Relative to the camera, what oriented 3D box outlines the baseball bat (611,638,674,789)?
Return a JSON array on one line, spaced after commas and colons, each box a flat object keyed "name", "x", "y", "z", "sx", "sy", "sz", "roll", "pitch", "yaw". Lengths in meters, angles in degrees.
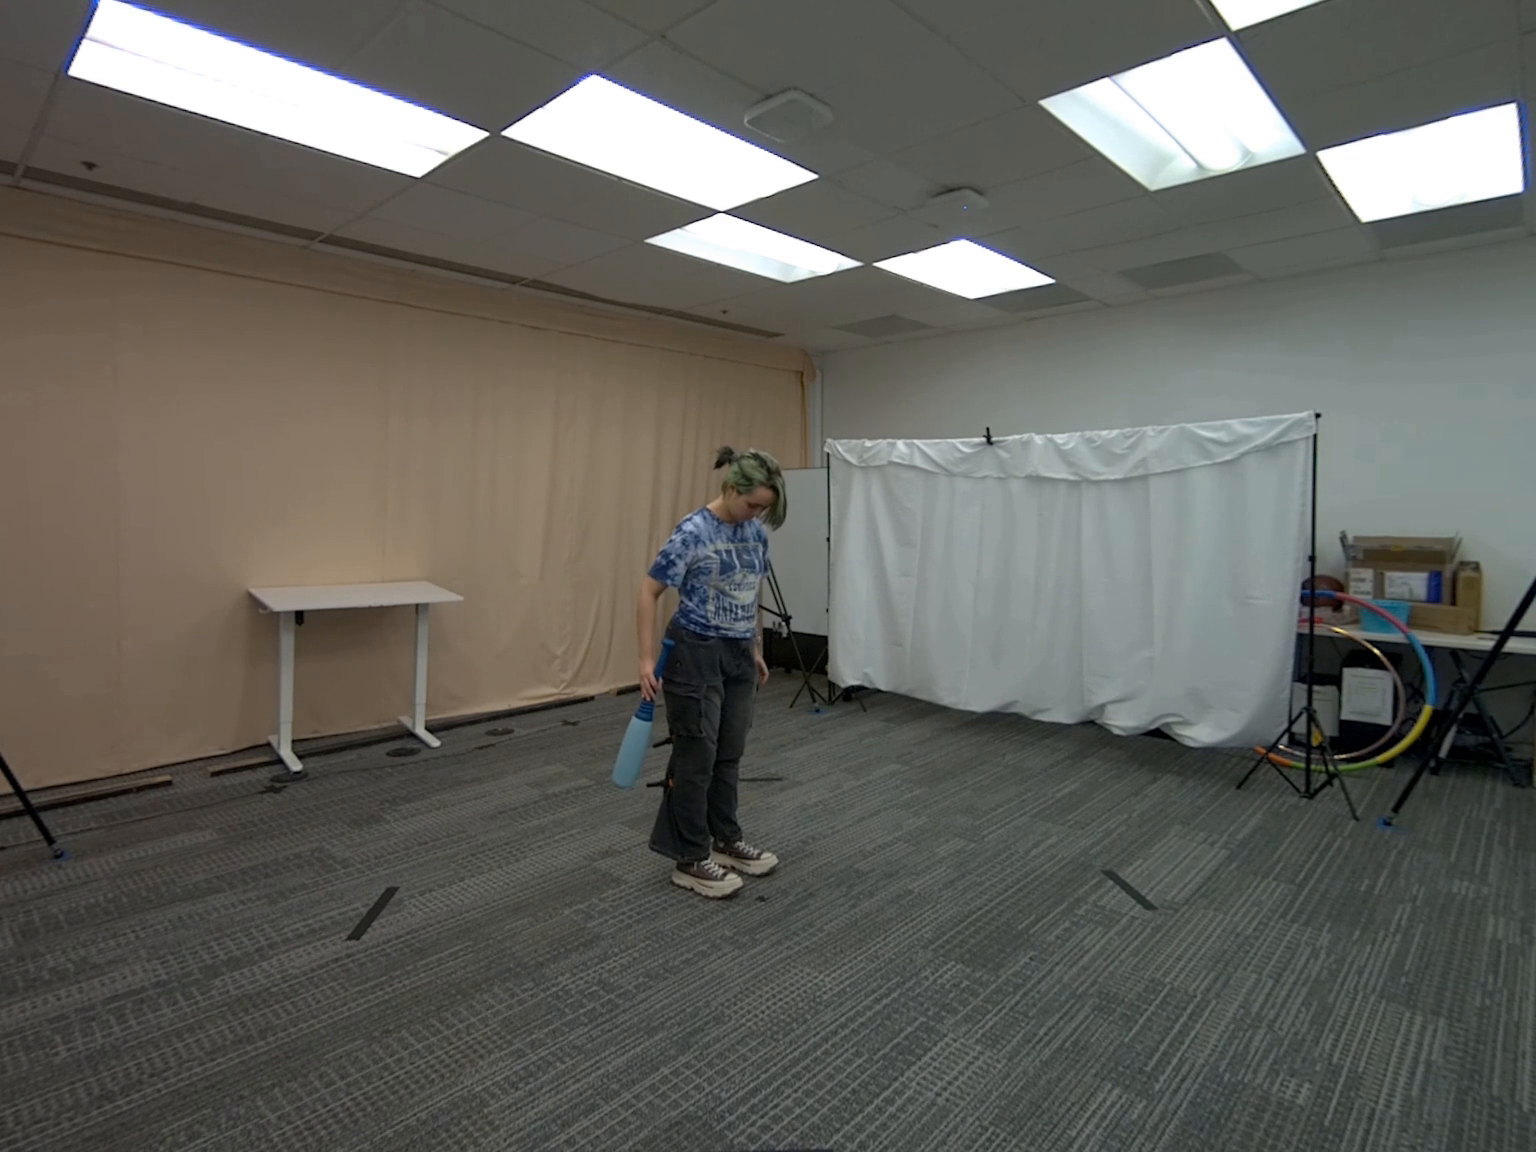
[{"name": "baseball bat", "x": -0.423, "y": 0.479, "z": 2.931, "sx": 0.089, "sy": 0.542, "sz": 0.089, "roll": 19, "pitch": 5, "yaw": -4}]
